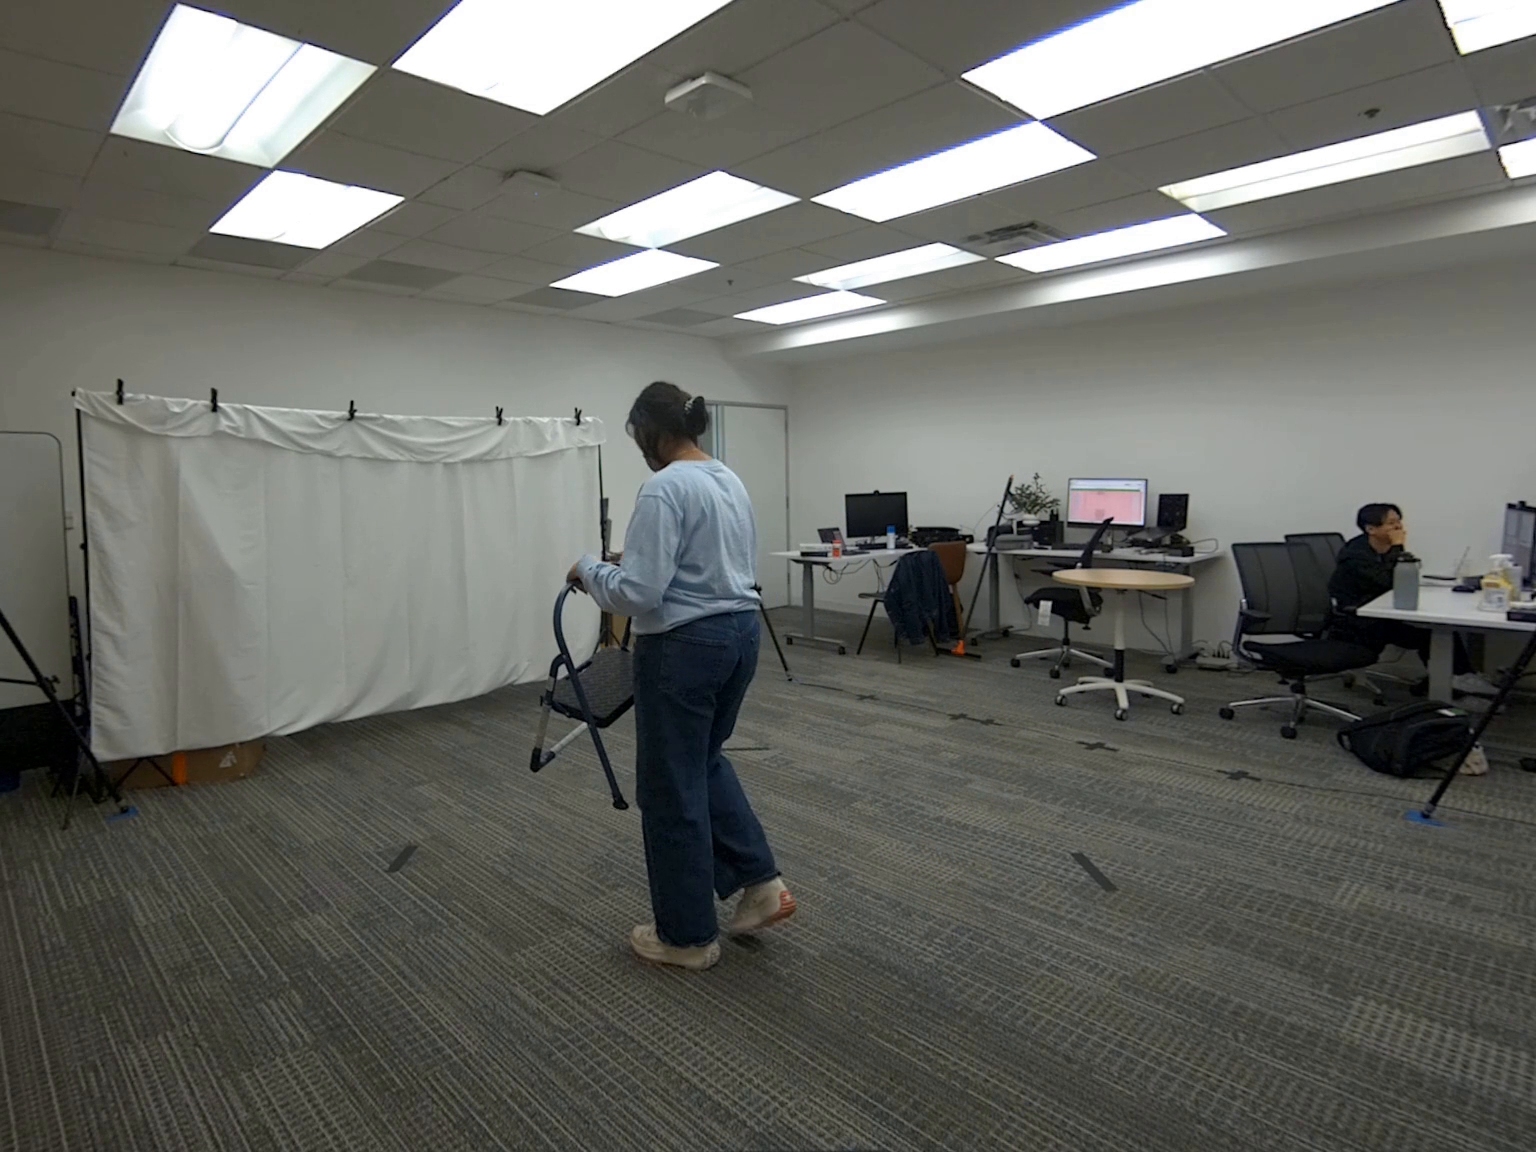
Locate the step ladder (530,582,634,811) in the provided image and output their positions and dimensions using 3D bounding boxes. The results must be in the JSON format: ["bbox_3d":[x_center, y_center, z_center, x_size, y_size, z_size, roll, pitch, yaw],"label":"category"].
[{"bbox_3d":[-0.465,0.278,2.575,0.358,0.595,0.428,12,24,21],"label":"step ladder"}]
